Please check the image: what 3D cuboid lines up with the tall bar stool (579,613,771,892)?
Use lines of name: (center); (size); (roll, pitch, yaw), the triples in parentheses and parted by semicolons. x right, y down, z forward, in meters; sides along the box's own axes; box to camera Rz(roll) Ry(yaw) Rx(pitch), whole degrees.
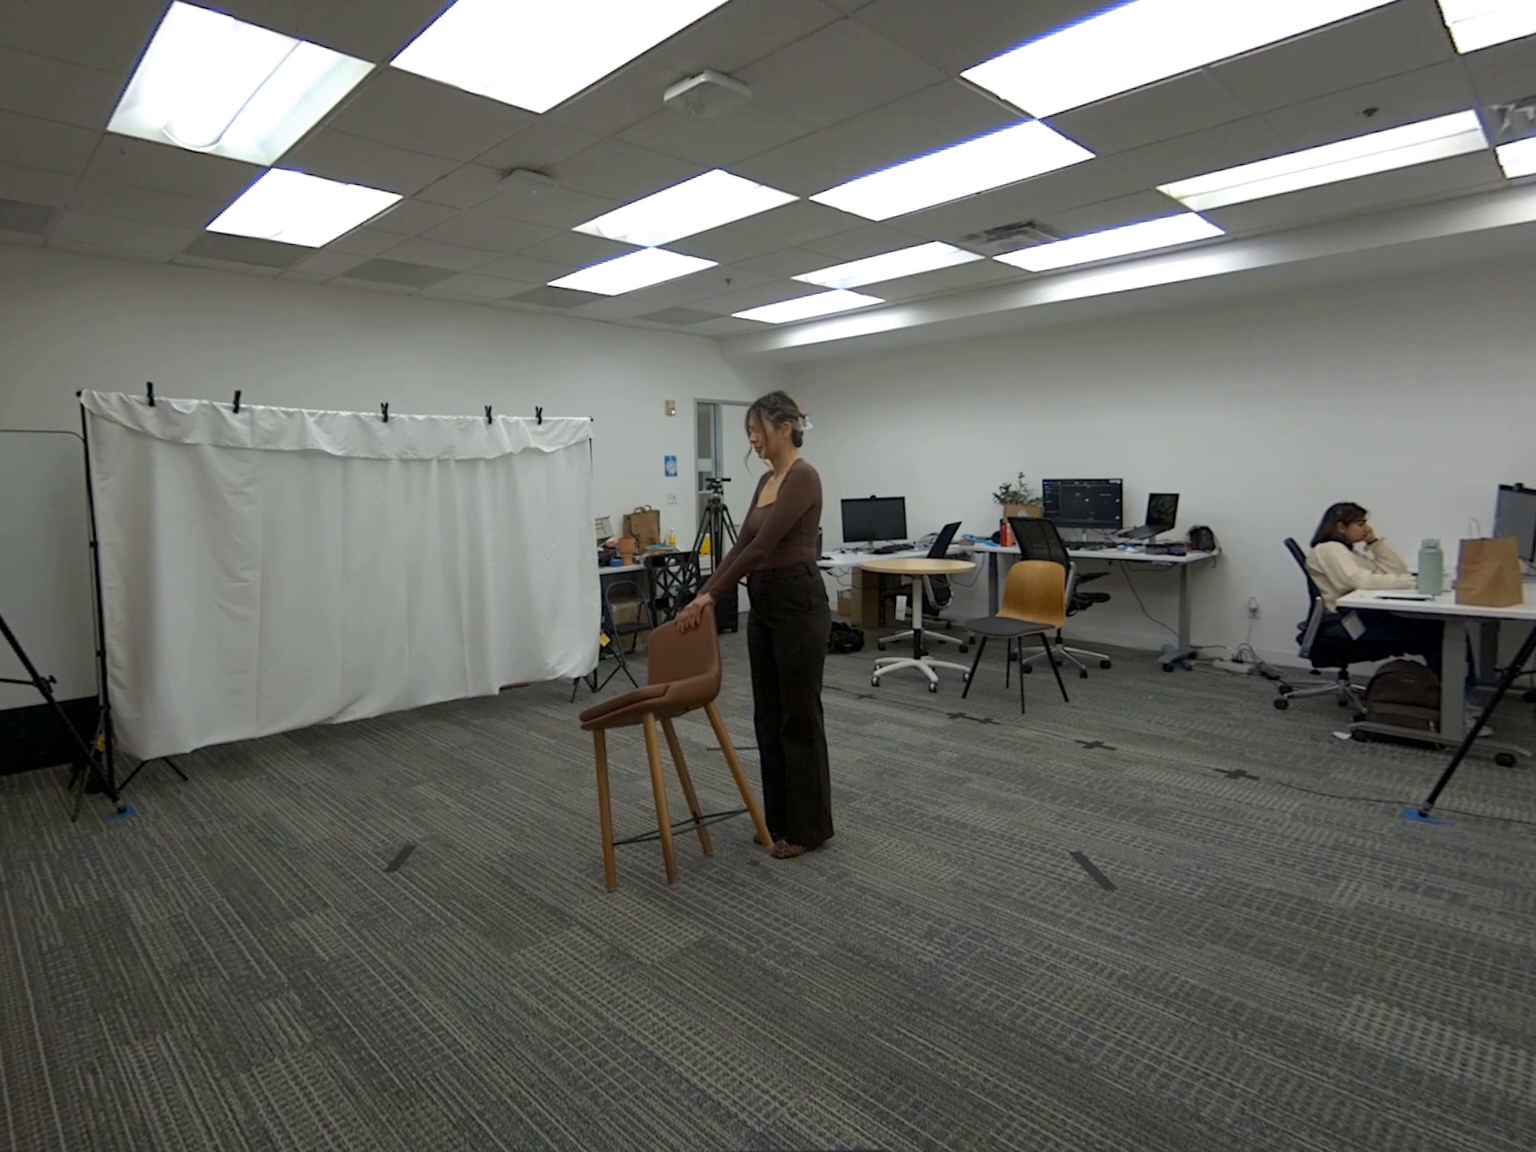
tall bar stool: (-0.366, 0.584, 3.018); (0.454, 0.904, 0.462); (-1, -19, -42)
